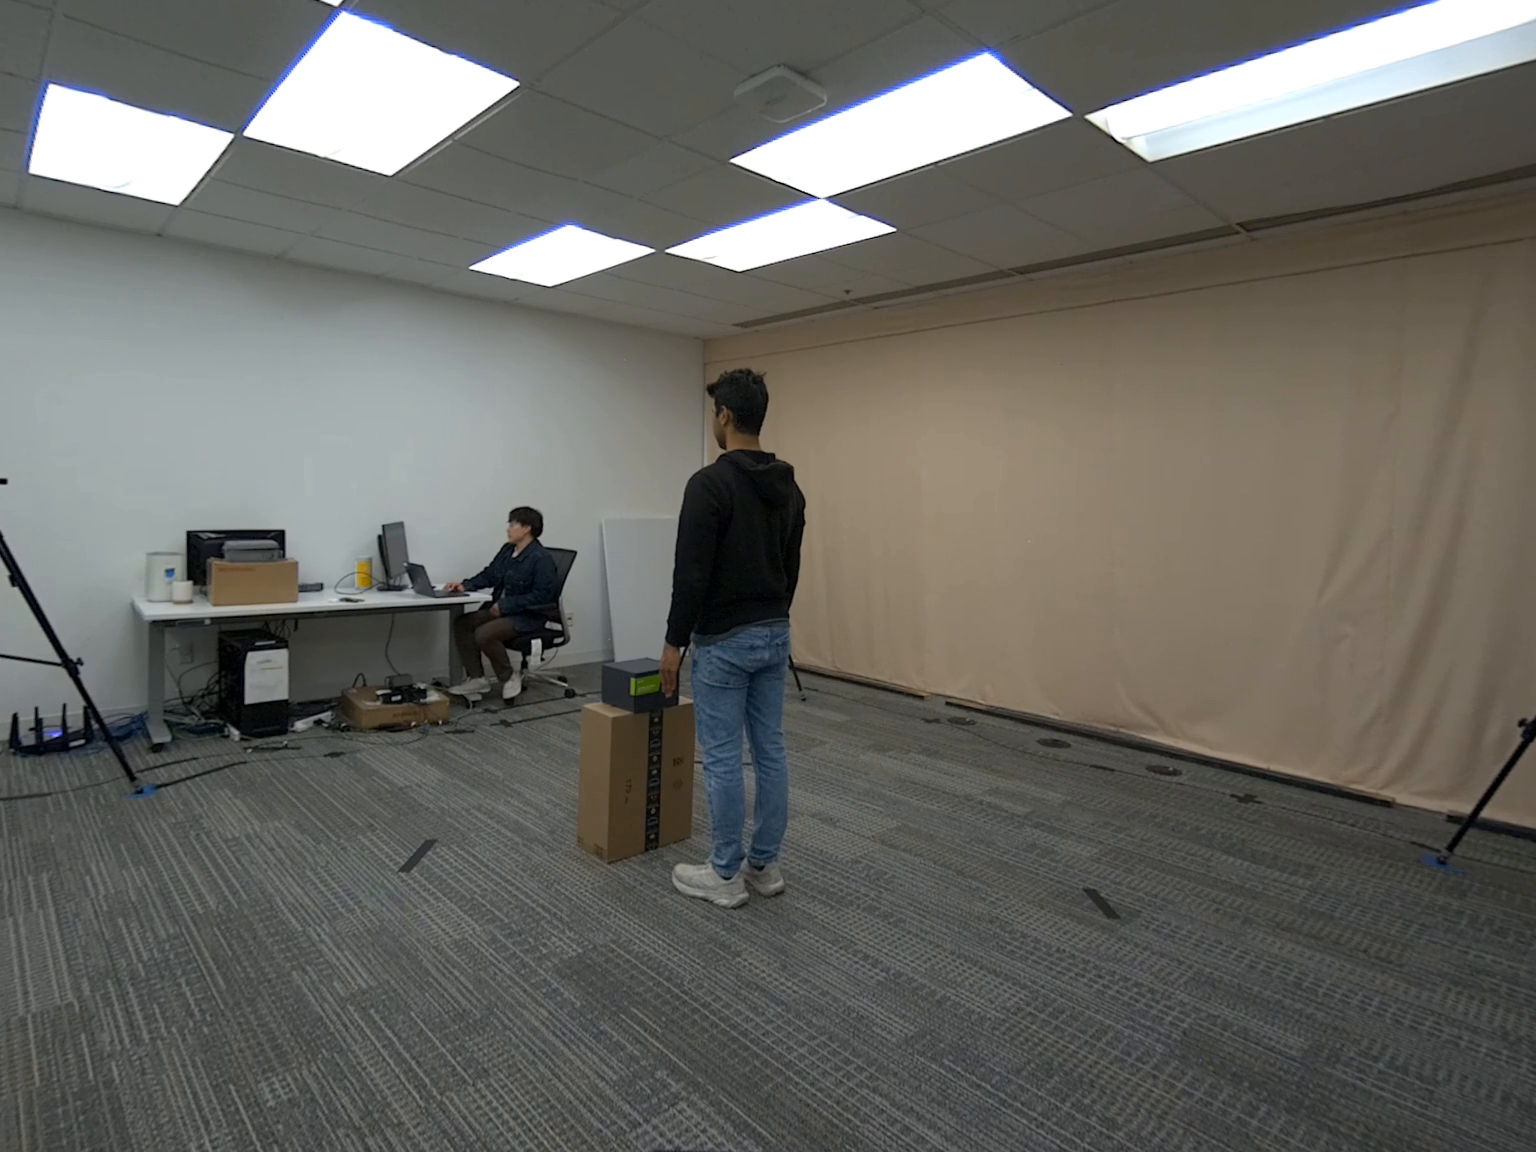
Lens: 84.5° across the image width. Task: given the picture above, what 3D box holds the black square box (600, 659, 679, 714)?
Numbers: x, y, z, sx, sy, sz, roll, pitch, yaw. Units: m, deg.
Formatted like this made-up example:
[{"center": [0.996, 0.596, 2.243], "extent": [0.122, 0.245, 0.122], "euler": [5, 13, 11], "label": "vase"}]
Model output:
[{"center": [-0.511, 0.429, 3.355], "extent": [0.222, 0.155, 0.223], "euler": [6, 7, 43], "label": "black square box"}]
